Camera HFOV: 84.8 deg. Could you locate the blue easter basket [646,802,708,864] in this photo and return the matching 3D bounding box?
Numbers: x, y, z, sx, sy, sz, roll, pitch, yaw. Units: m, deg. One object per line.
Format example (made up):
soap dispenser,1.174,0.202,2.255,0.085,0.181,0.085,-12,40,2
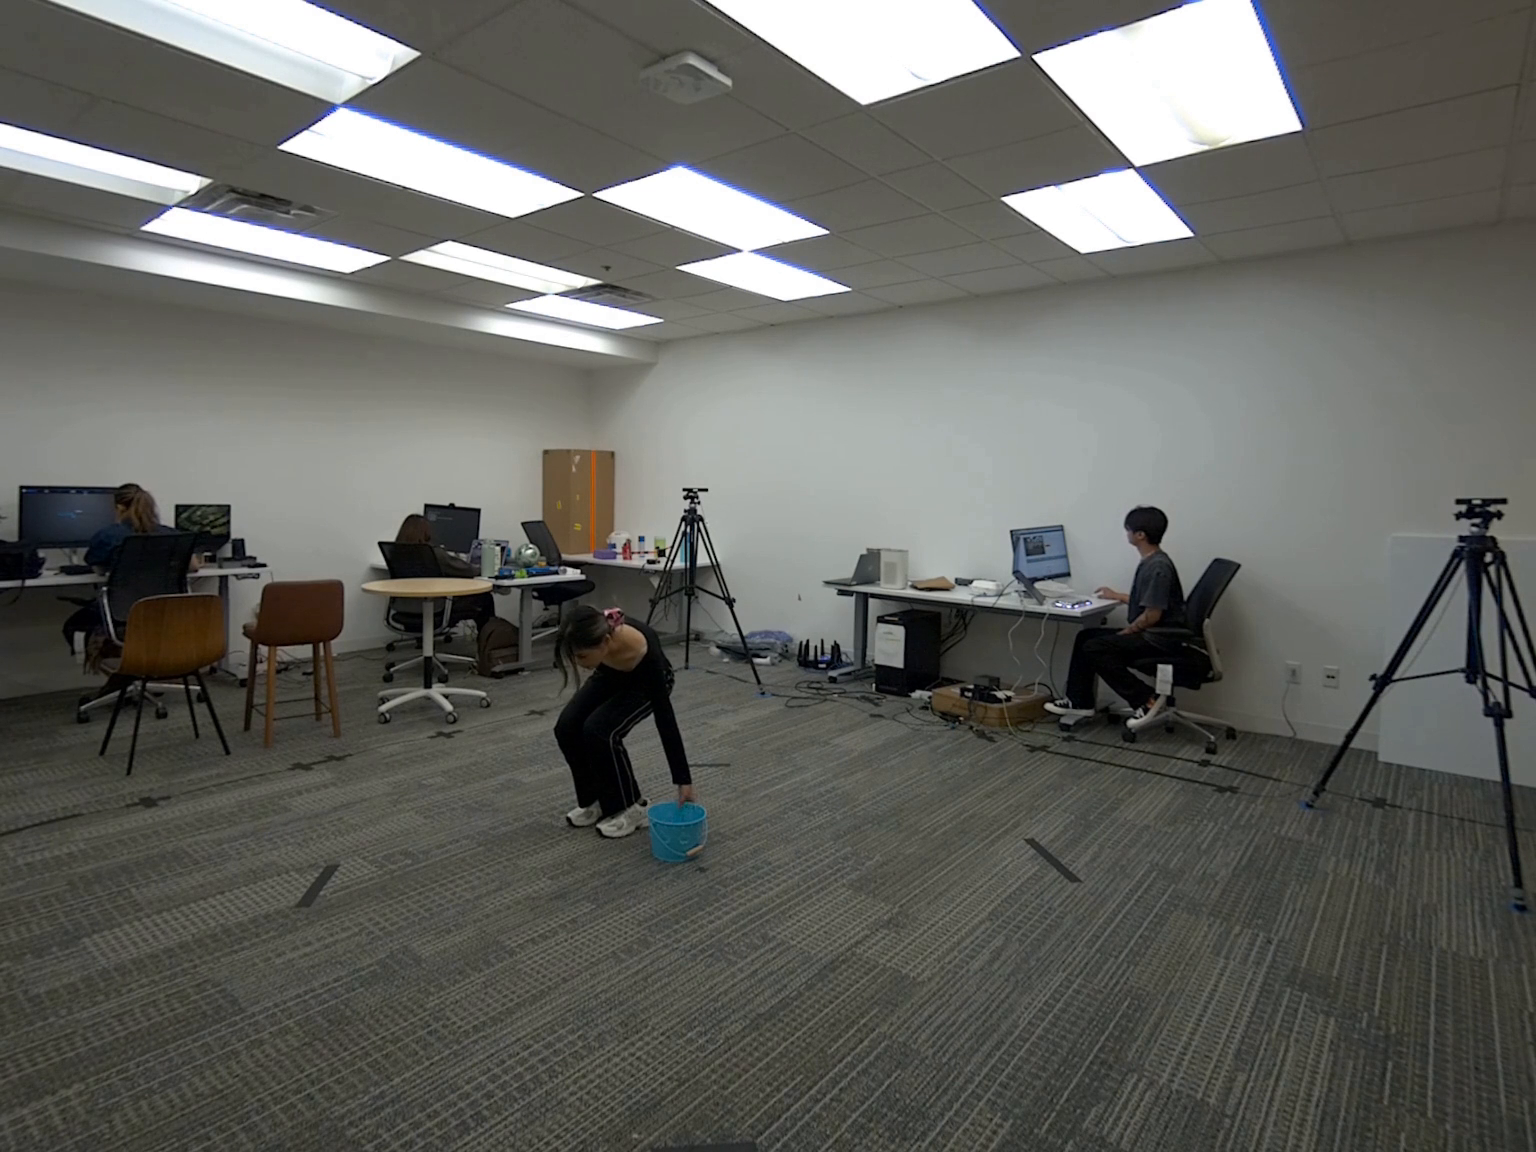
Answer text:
blue easter basket,-0.361,0.977,3.251,0.243,0.155,0.245,0,4,-2
